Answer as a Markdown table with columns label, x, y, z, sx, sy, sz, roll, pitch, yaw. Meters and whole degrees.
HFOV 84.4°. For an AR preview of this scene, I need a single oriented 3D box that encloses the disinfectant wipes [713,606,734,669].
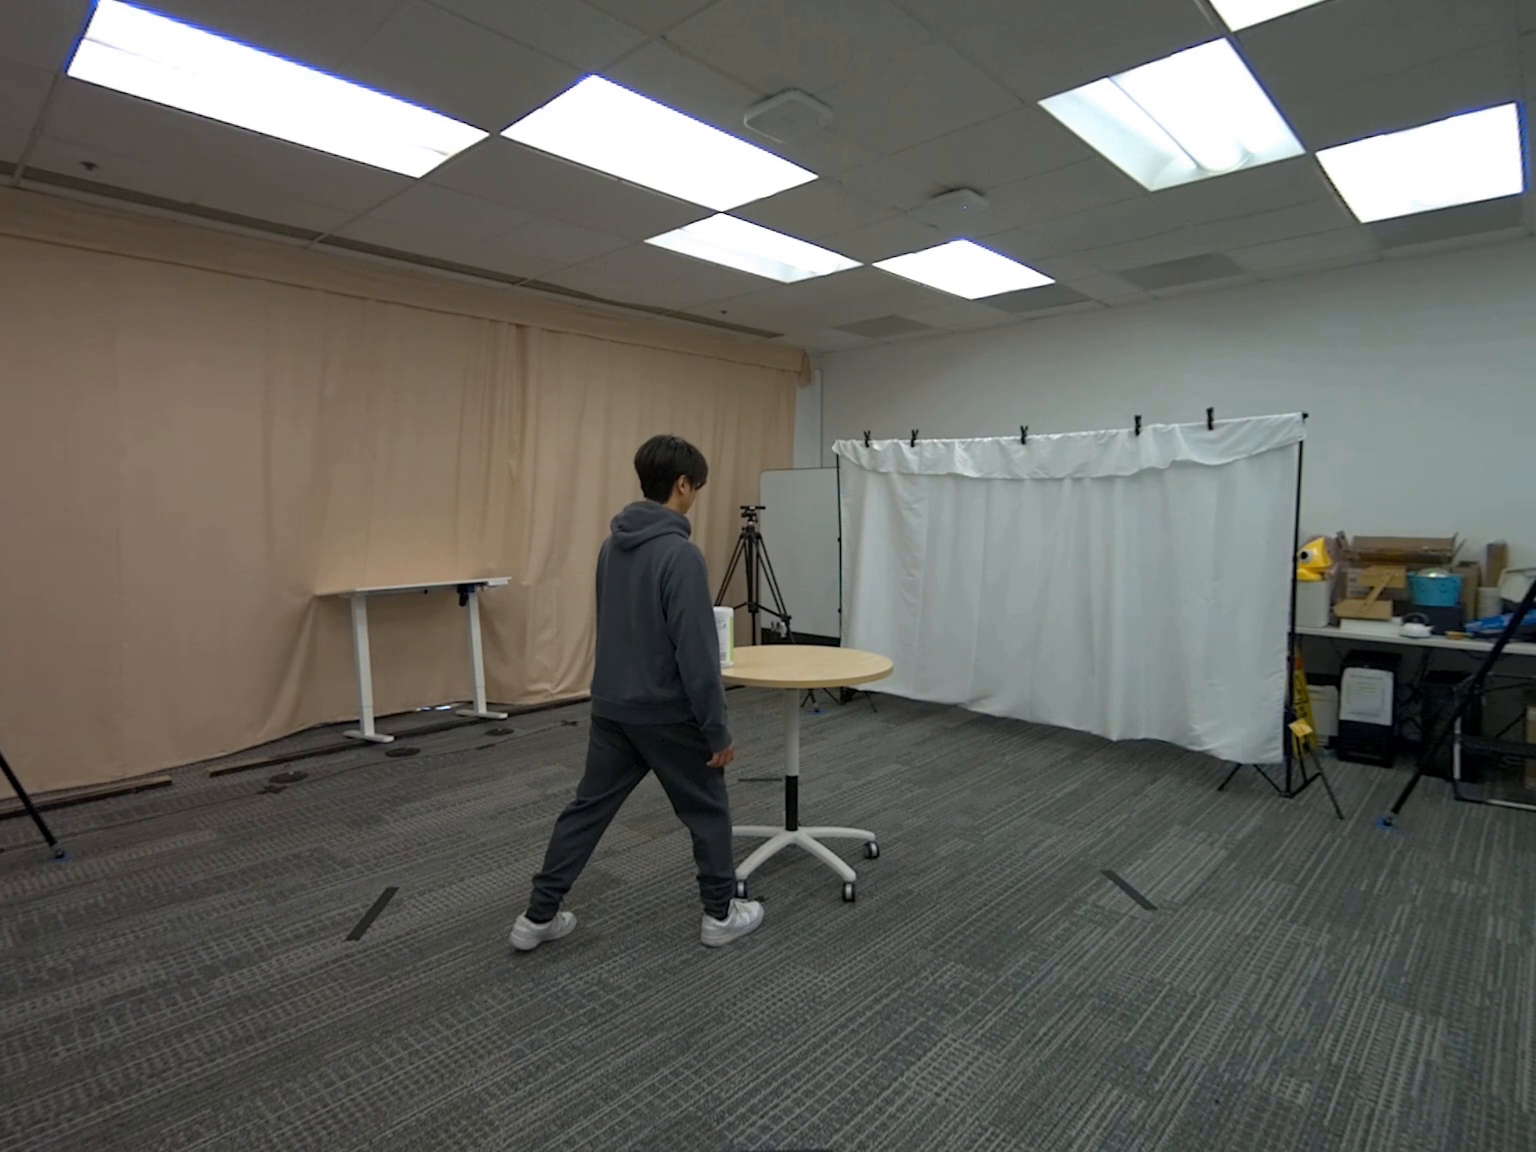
| label | x | y | z | sx | sy | sz | roll | pitch | yaw |
| --- | --- | --- | --- | --- | --- | --- | --- | --- | --- |
| disinfectant wipes | -0.185 | 0.224 | 3.125 | 0.118 | 0.217 | 0.118 | 1 | 3 | -2 |
